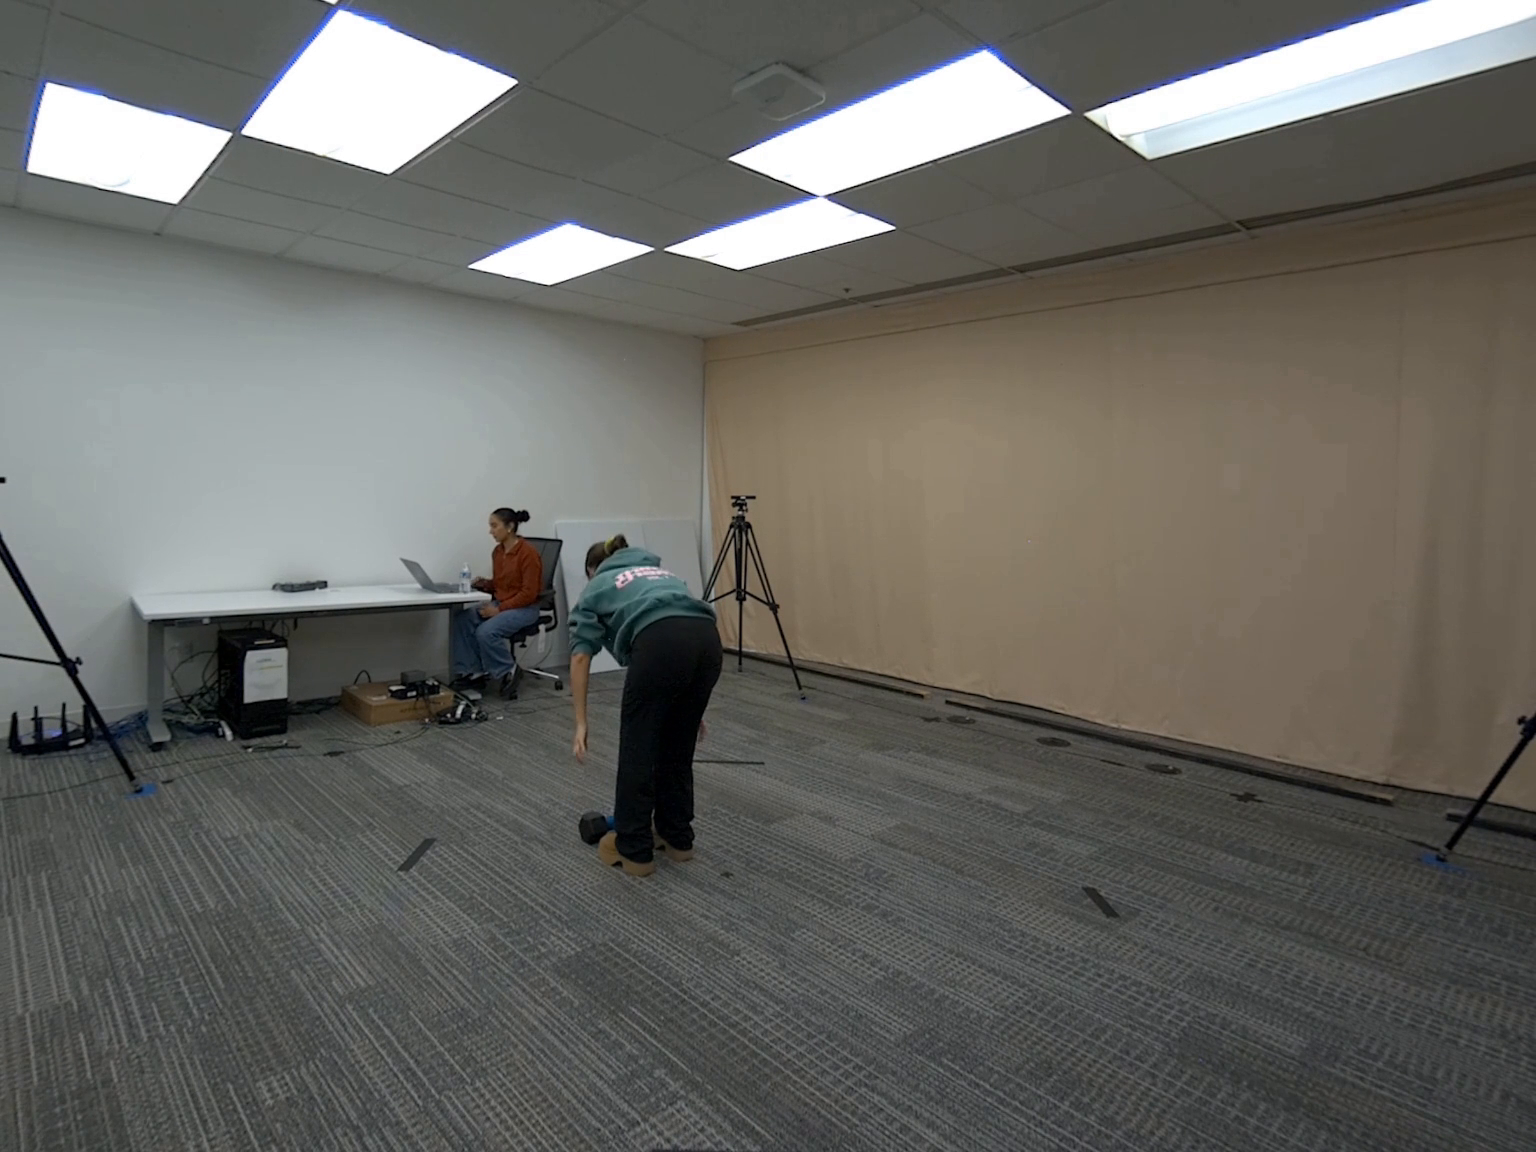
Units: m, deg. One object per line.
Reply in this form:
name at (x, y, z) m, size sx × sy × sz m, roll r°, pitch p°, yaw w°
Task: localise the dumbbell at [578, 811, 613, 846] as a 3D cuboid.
dumbbell at (-0.634, 1.008, 3.445) m, size 0.287 × 0.125 × 0.109 m, roll -3°, pitch -25°, yaw -41°
